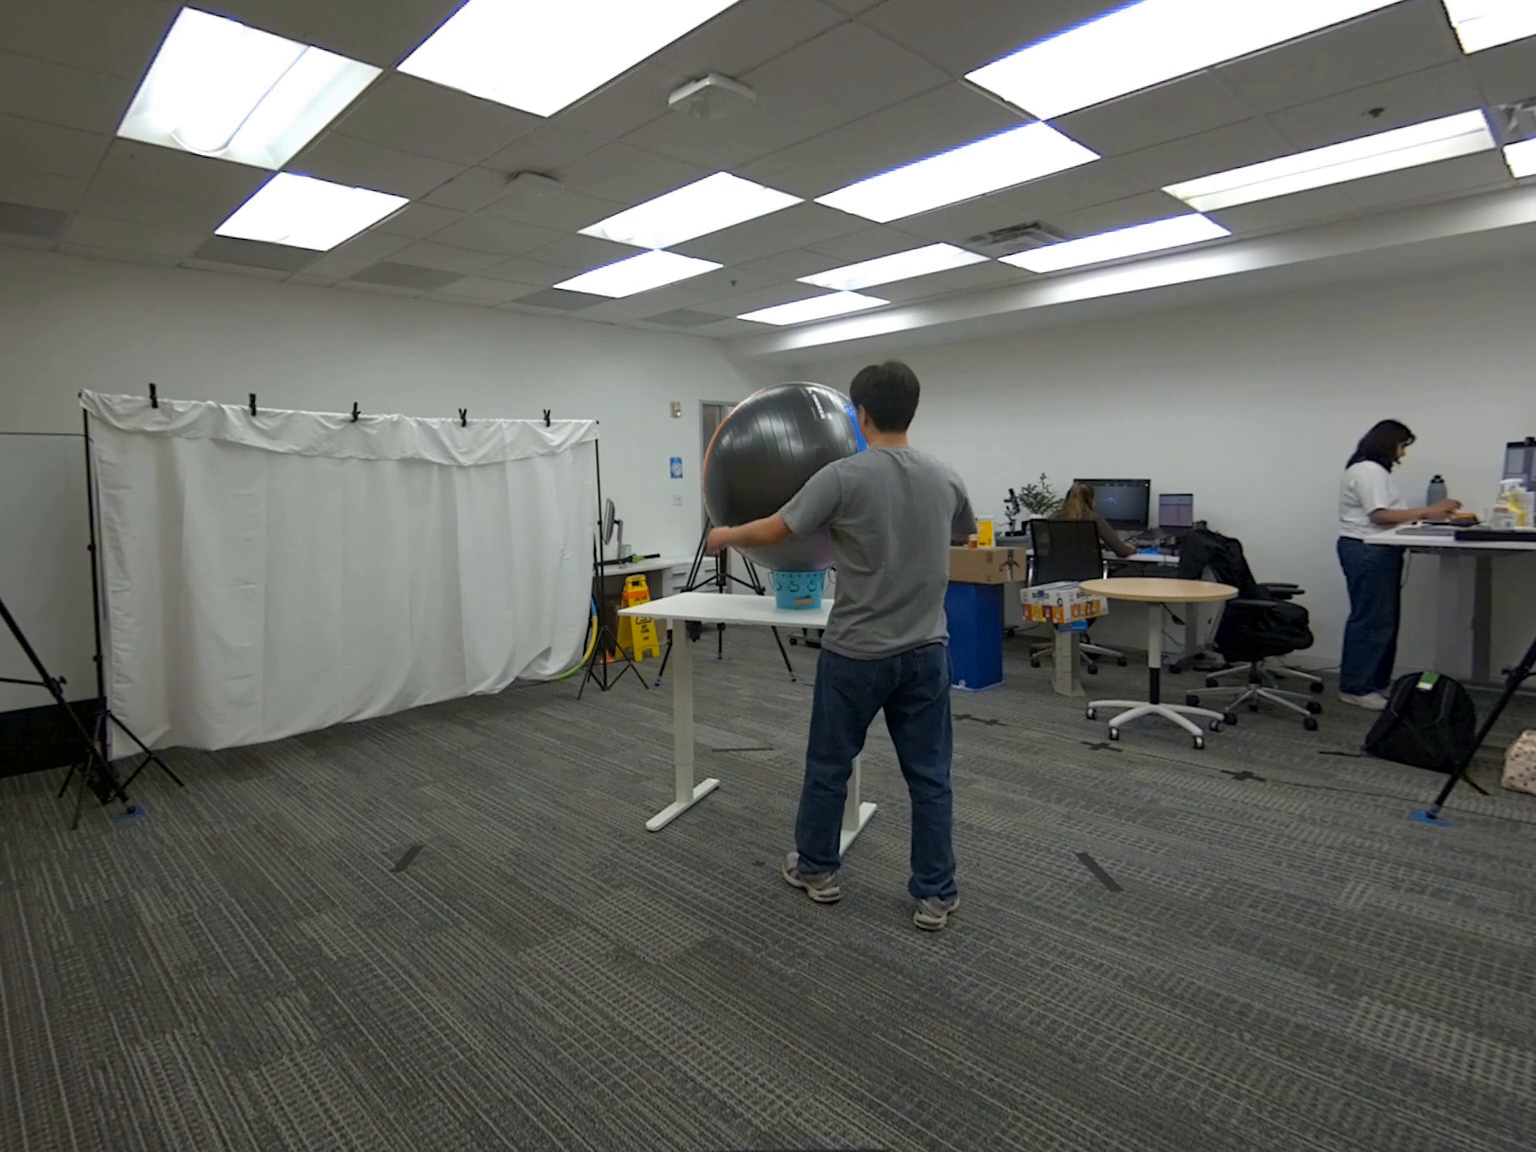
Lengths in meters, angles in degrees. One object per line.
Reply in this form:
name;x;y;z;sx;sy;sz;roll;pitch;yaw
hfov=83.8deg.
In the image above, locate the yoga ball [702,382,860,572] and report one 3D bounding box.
yoga ball;0.112;-0.386;3.430;0.757;0.755;0.762;-1;5;-2
